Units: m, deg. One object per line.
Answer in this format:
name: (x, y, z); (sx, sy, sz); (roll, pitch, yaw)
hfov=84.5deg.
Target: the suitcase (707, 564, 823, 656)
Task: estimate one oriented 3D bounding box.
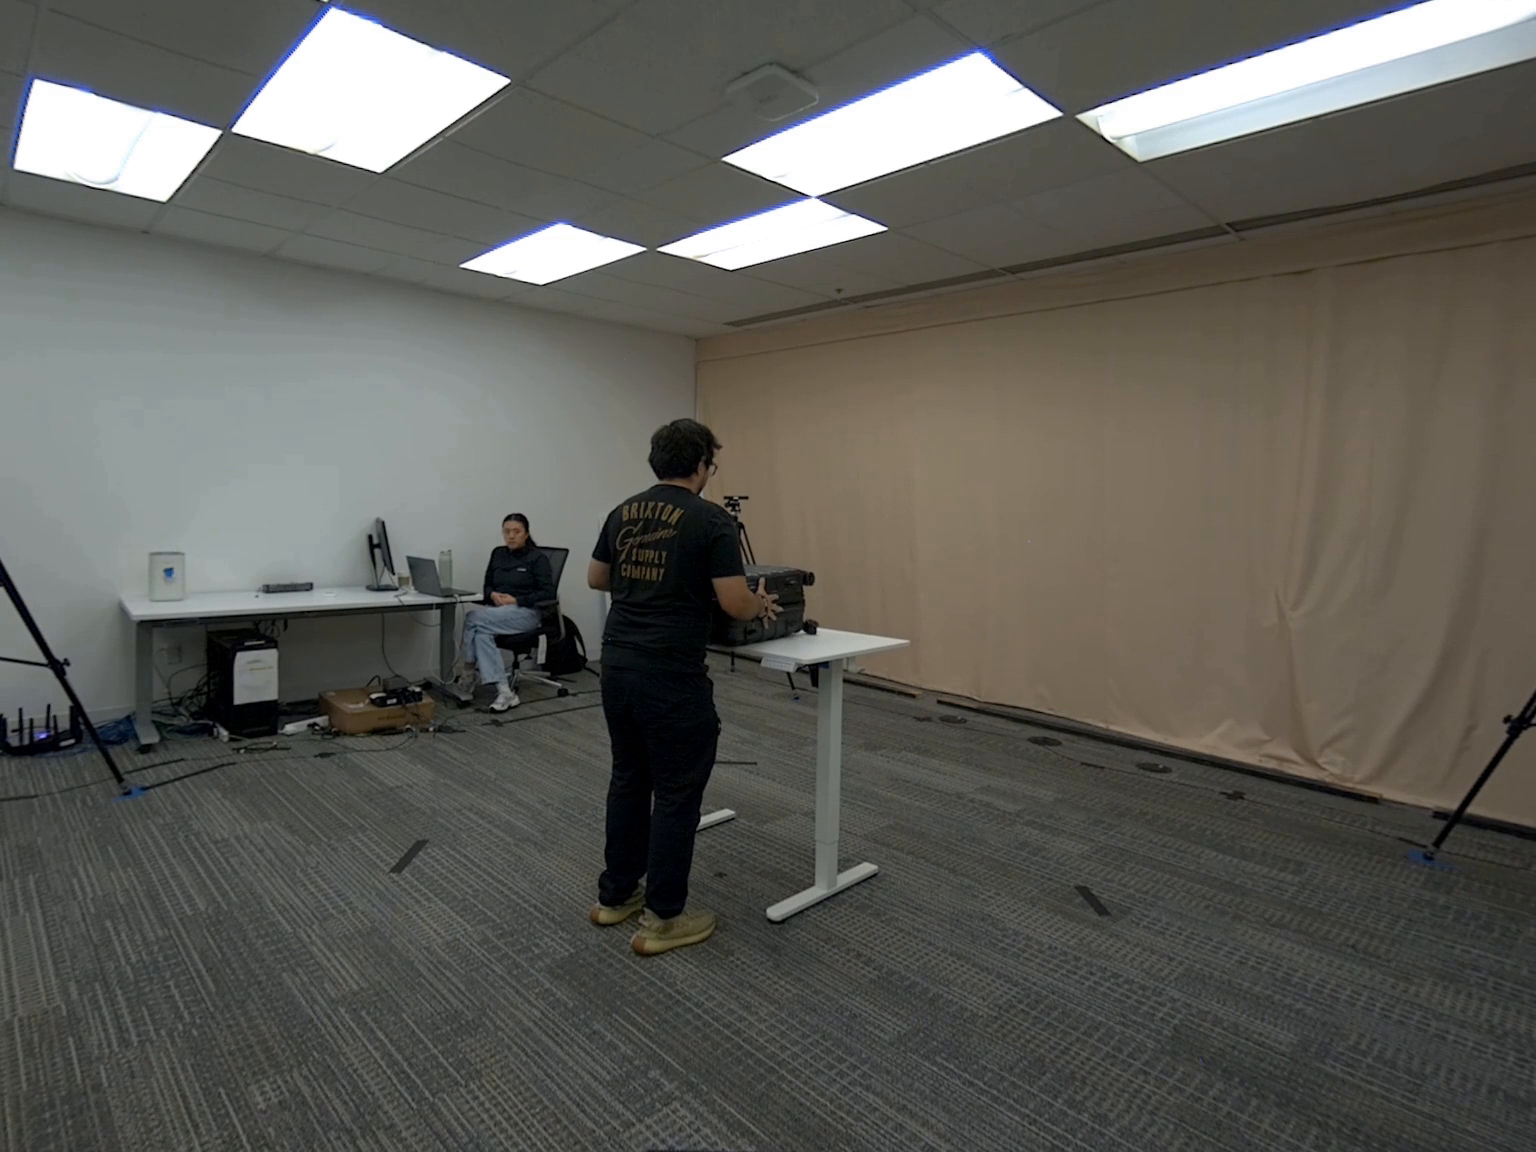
suitcase: (-0.113, 0.103, 3.073); (0.384, 0.247, 0.537); (4, 6, 37)
